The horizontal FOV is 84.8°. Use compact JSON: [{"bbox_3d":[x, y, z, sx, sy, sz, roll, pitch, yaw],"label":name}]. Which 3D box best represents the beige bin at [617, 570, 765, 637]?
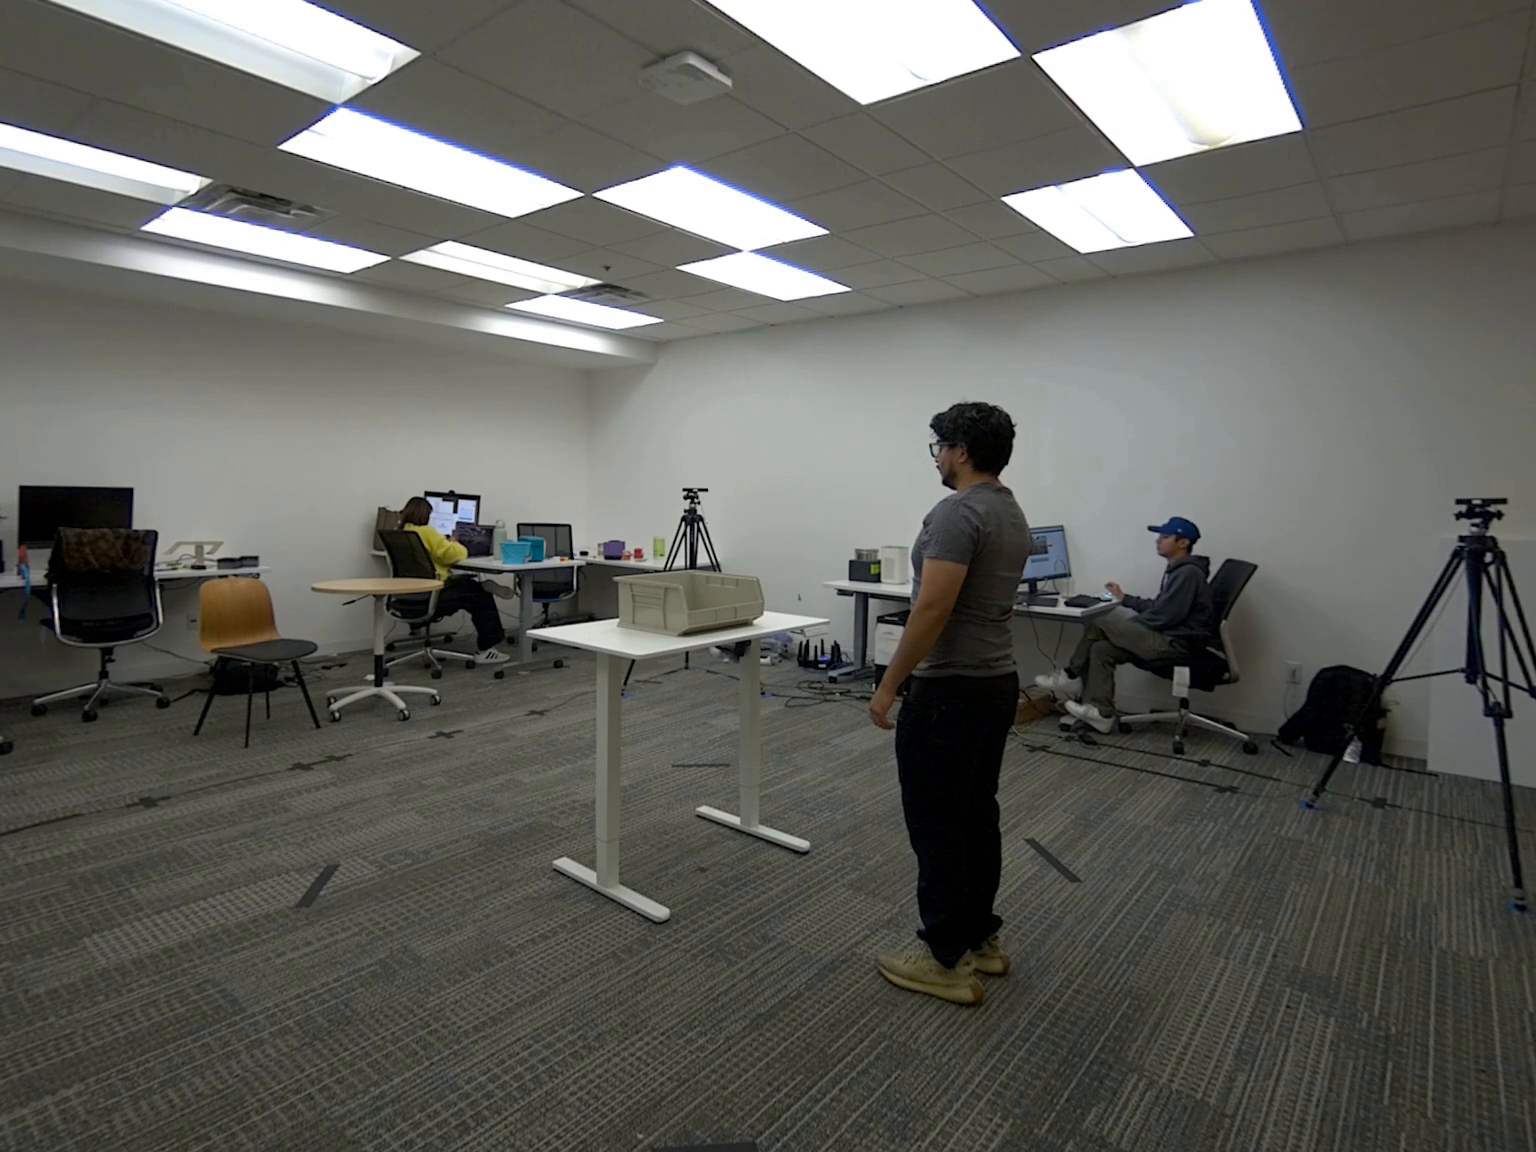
[{"bbox_3d":[-0.296,0.093,3.137,0.390,0.188,0.410,4,6,41],"label":"beige bin"}]
